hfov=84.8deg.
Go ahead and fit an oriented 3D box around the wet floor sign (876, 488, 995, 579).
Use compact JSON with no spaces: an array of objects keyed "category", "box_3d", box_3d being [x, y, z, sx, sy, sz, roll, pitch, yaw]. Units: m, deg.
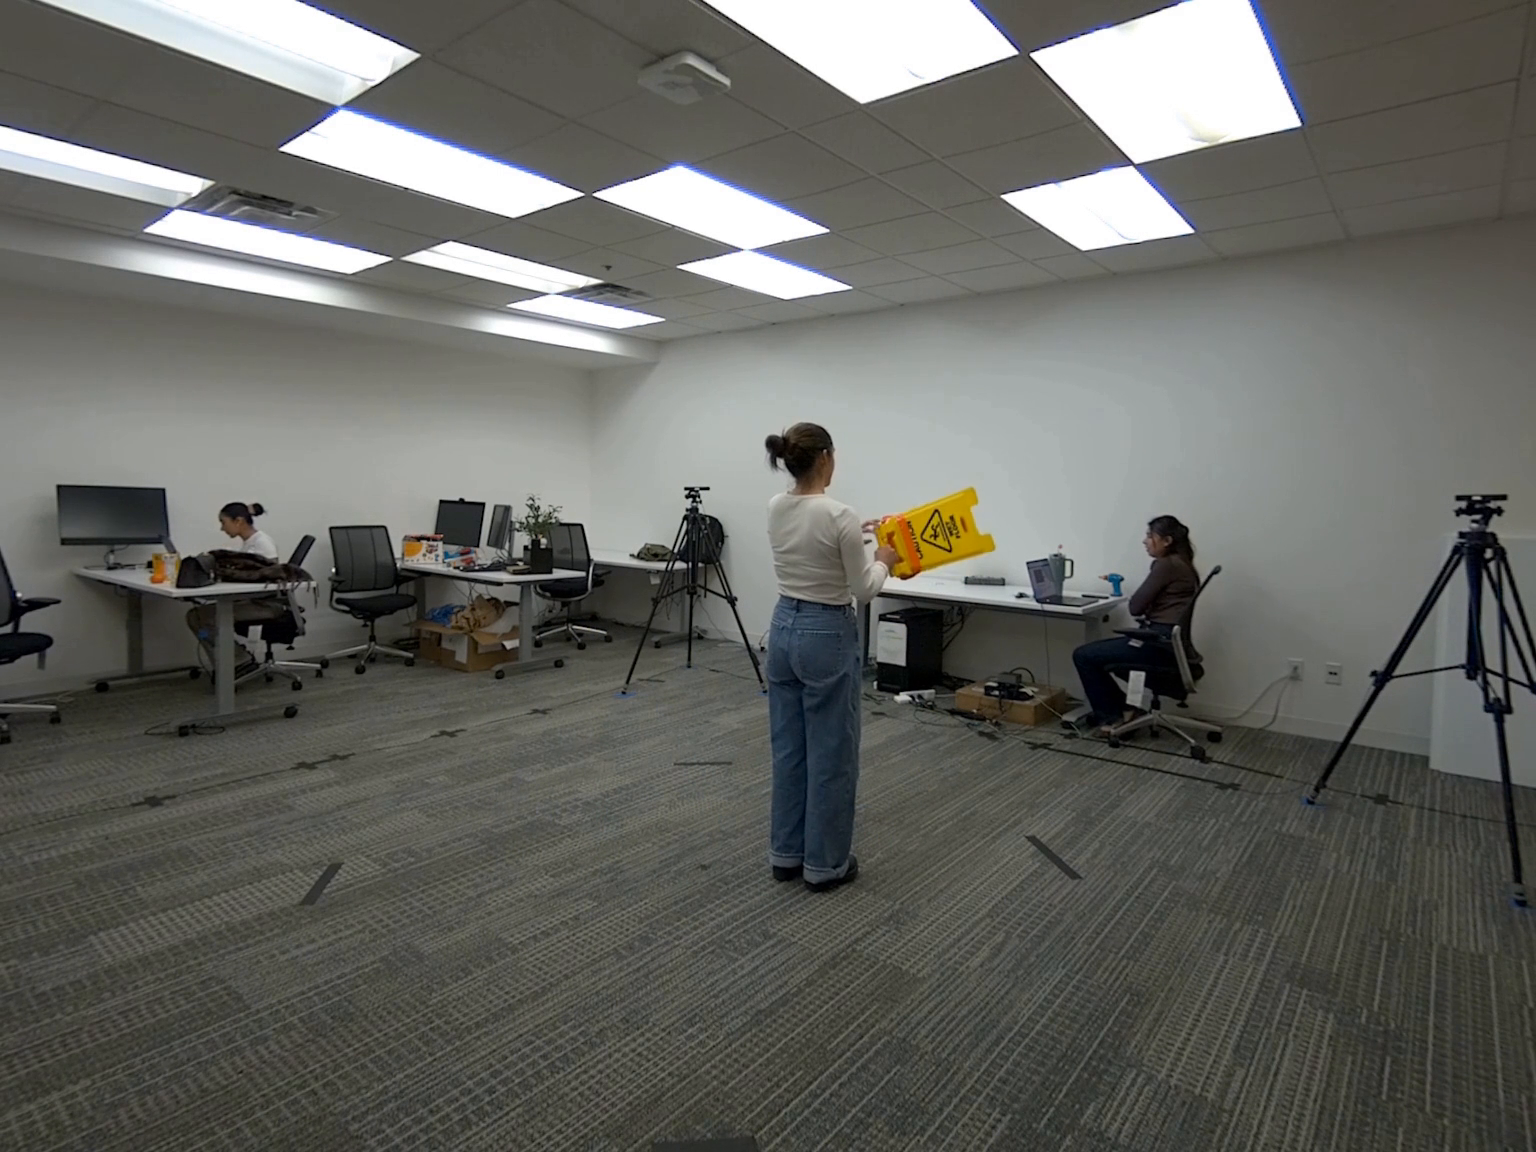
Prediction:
[{"category":"wet floor sign","box_3d":[0.594,-0.144,3.350,0.295,0.283,0.631,-20,-2,38]}]
